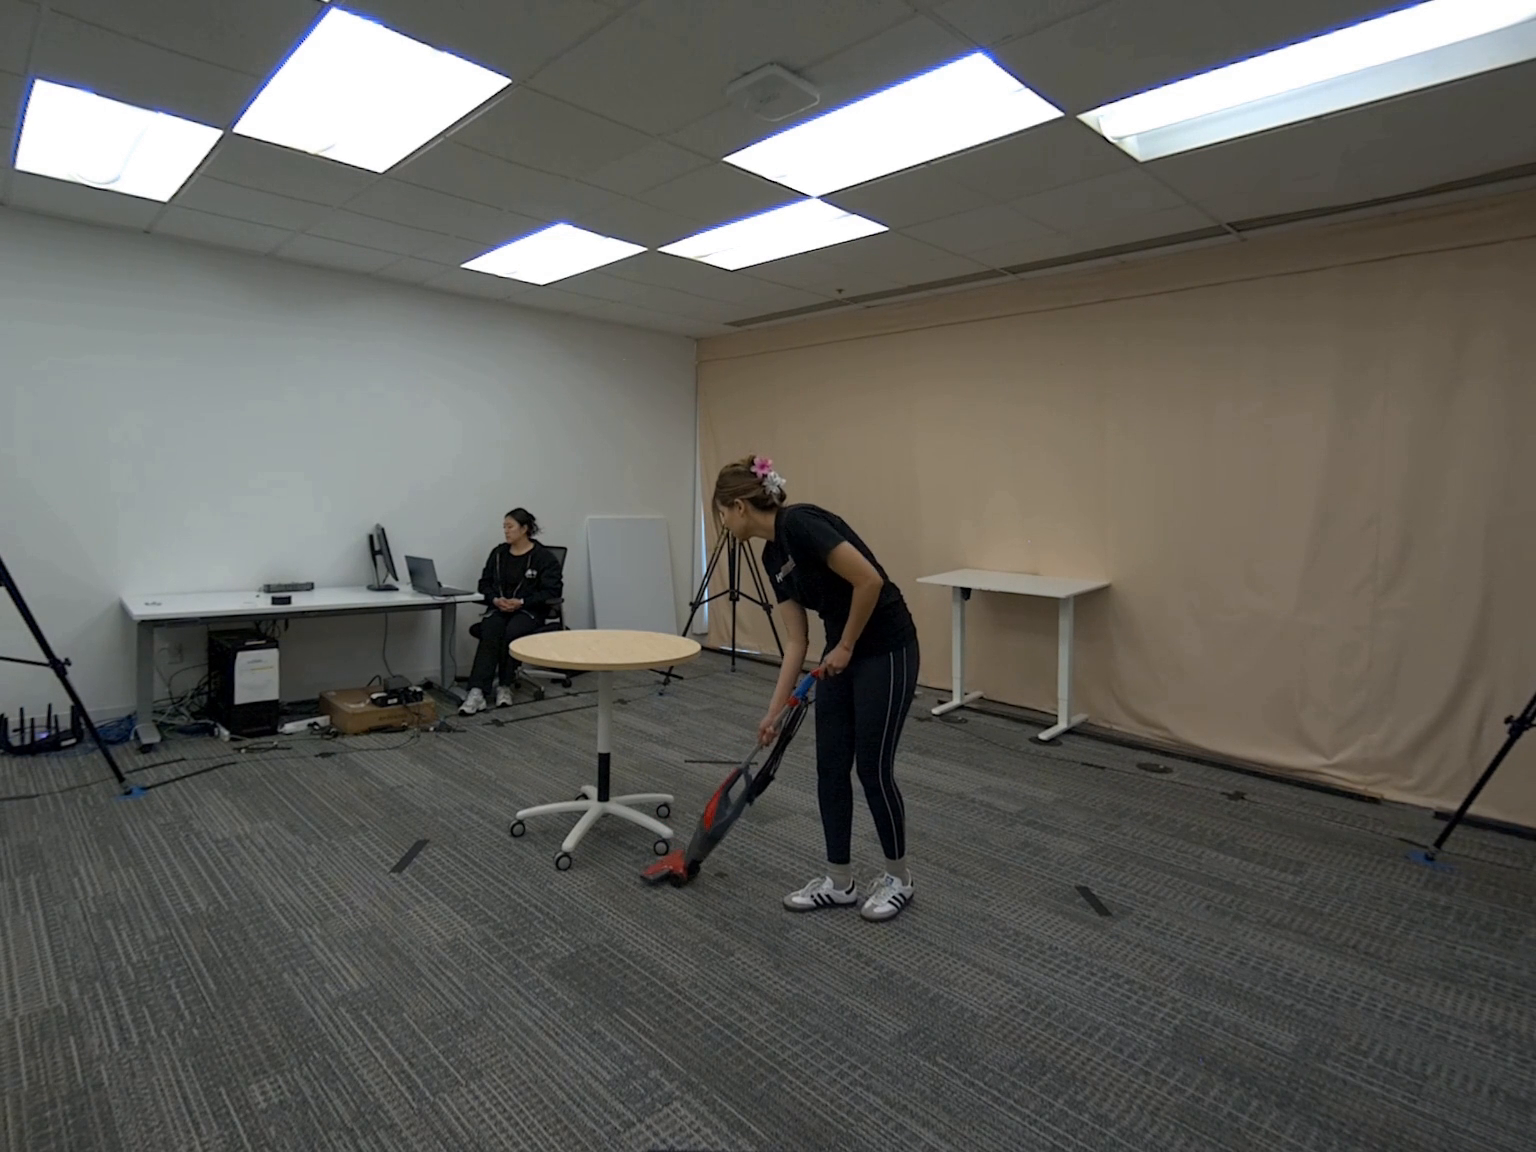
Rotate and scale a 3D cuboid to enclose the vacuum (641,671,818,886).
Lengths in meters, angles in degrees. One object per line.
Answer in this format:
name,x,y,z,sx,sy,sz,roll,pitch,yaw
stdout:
vacuum,-0.077,0.685,2.903,0.147,1.046,0.248,41,20,17
